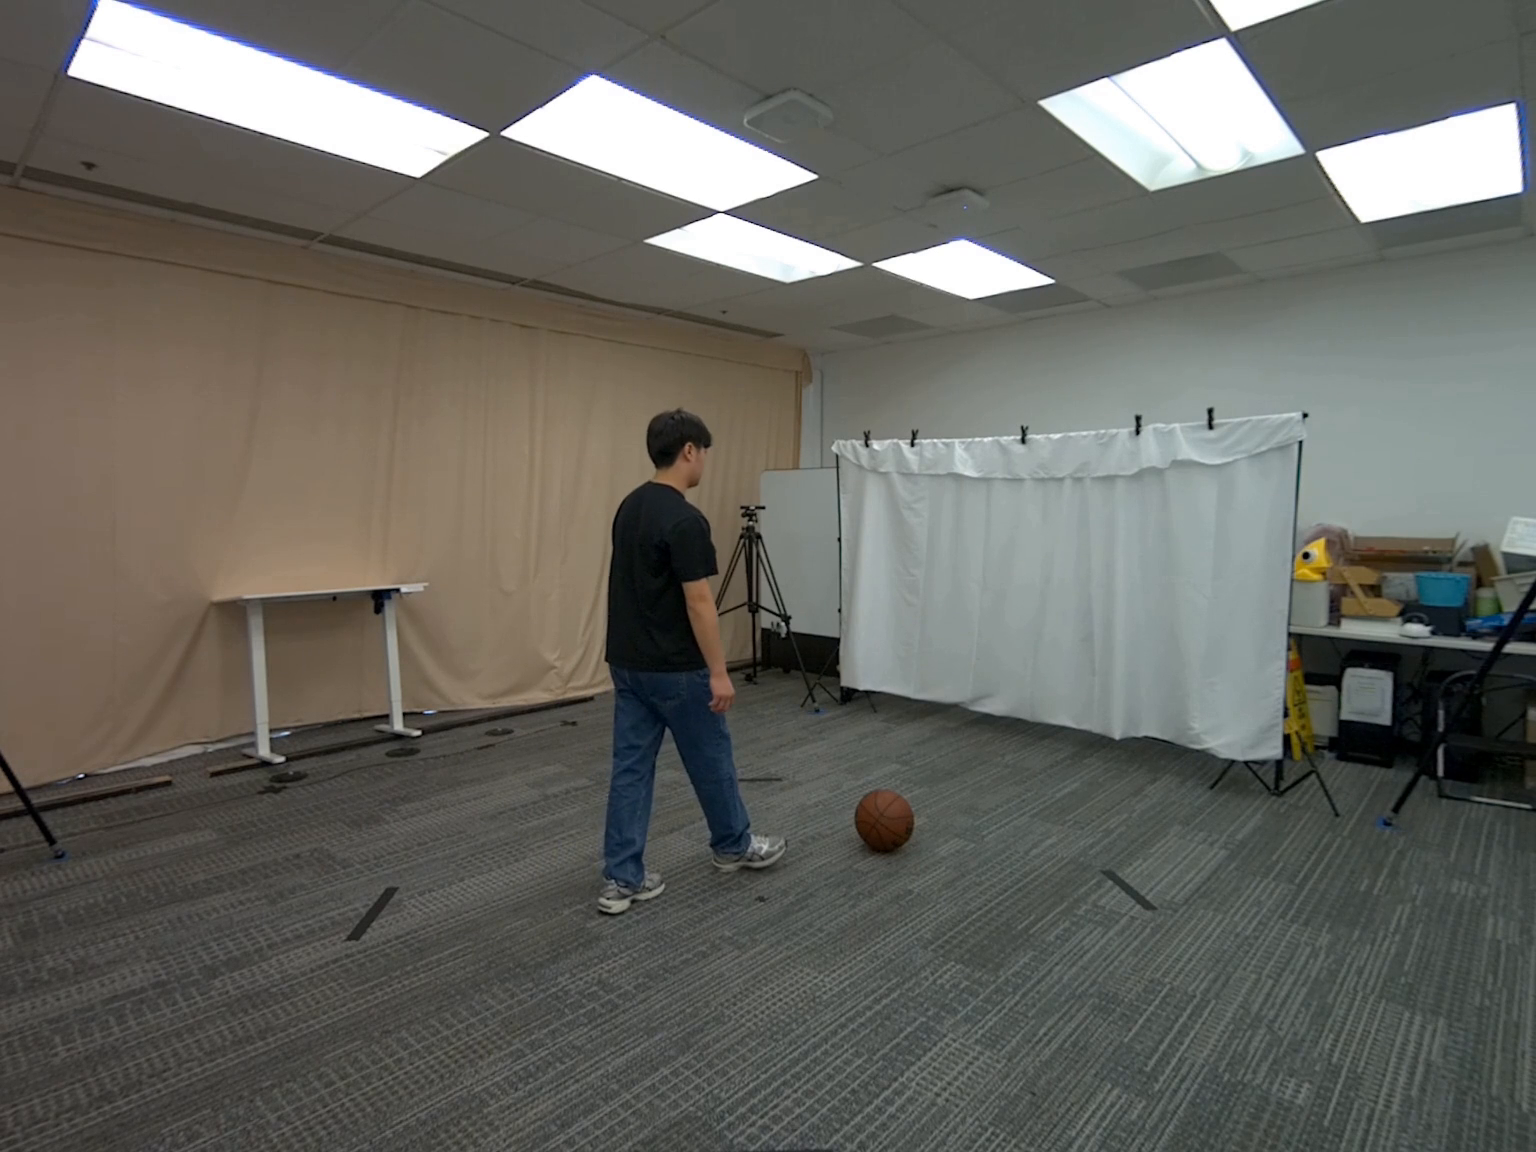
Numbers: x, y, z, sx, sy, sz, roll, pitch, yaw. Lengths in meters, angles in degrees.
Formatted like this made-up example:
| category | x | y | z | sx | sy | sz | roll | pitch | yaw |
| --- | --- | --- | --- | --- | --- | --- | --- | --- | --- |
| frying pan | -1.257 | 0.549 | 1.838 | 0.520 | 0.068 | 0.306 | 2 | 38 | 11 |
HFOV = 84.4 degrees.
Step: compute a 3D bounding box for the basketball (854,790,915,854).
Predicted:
| category | x | y | z | sx | sy | sz | roll | pitch | yaw |
| --- | --- | --- | --- | --- | --- | --- | --- | --- | --- |
| basketball | 0.471 | 0.987 | 3.413 | 0.236 | 0.235 | 0.237 | 0 | 4 | -2 |
